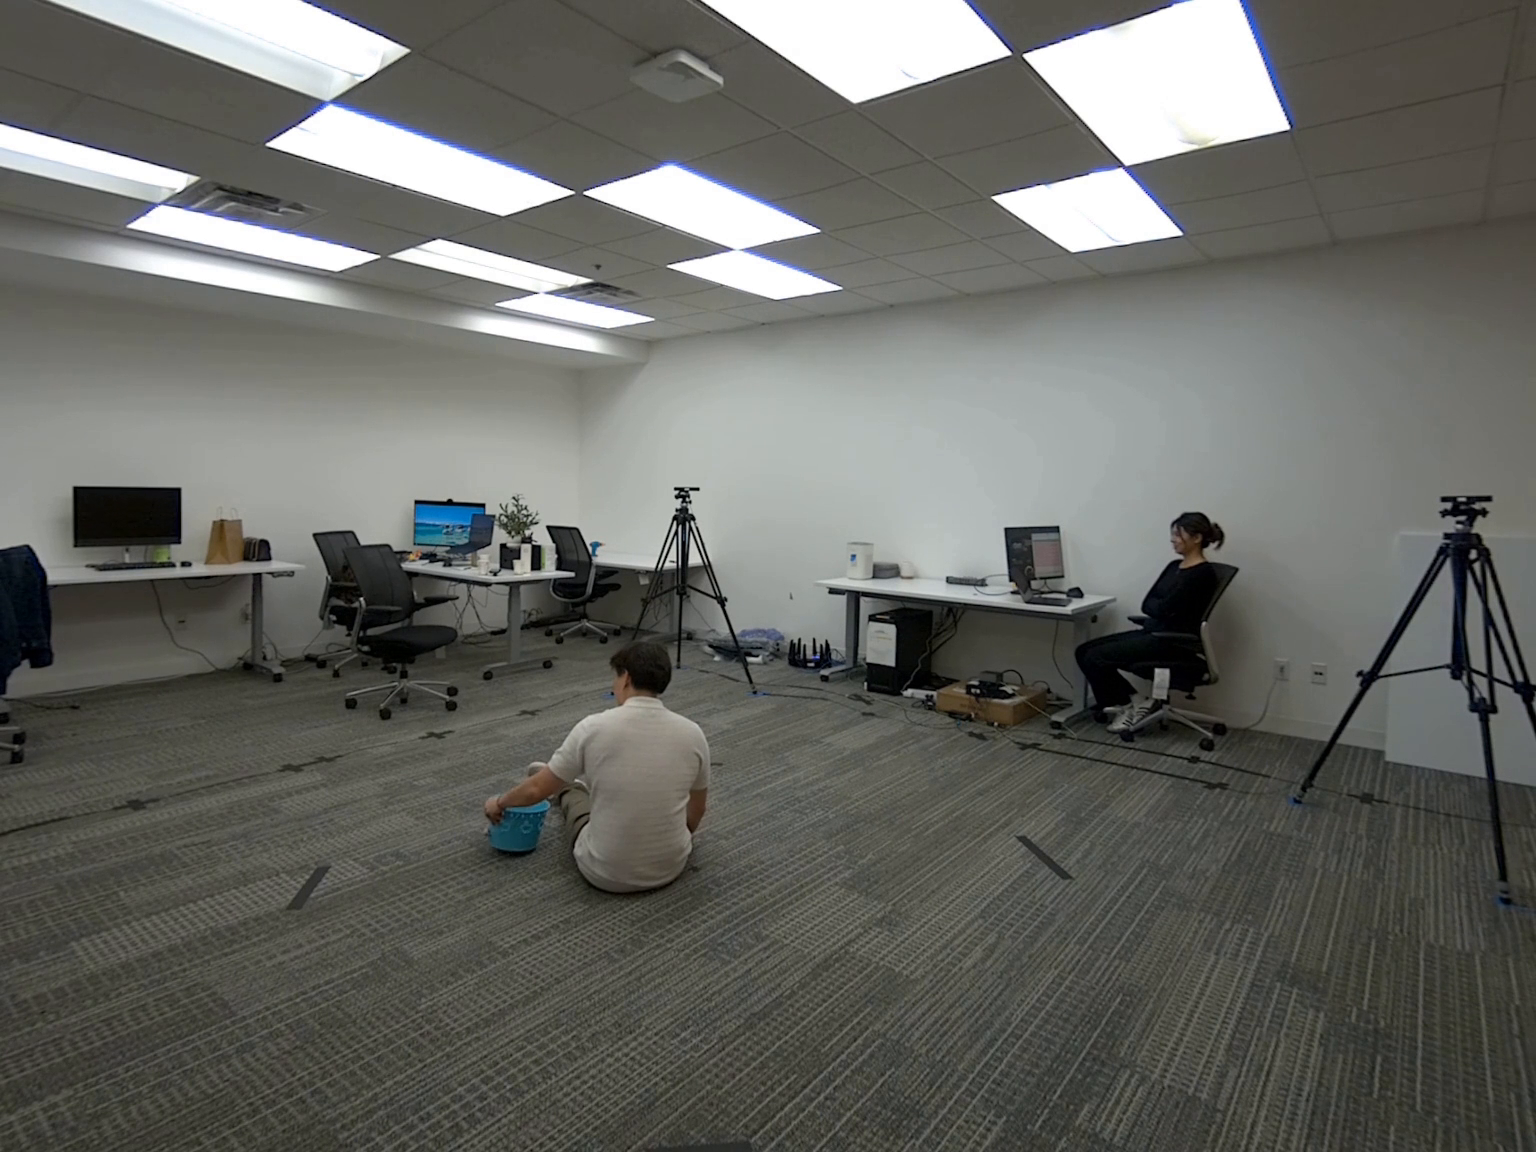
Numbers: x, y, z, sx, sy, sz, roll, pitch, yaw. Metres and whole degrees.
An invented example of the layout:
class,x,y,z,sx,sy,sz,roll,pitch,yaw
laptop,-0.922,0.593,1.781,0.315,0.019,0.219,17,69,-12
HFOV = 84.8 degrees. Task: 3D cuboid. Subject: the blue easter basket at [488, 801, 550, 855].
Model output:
class,x,y,z,sx,sy,sz,roll,pitch,yaw
blue easter basket,-0.982,0.931,3.261,0.243,0.156,0.243,7,-1,-2
